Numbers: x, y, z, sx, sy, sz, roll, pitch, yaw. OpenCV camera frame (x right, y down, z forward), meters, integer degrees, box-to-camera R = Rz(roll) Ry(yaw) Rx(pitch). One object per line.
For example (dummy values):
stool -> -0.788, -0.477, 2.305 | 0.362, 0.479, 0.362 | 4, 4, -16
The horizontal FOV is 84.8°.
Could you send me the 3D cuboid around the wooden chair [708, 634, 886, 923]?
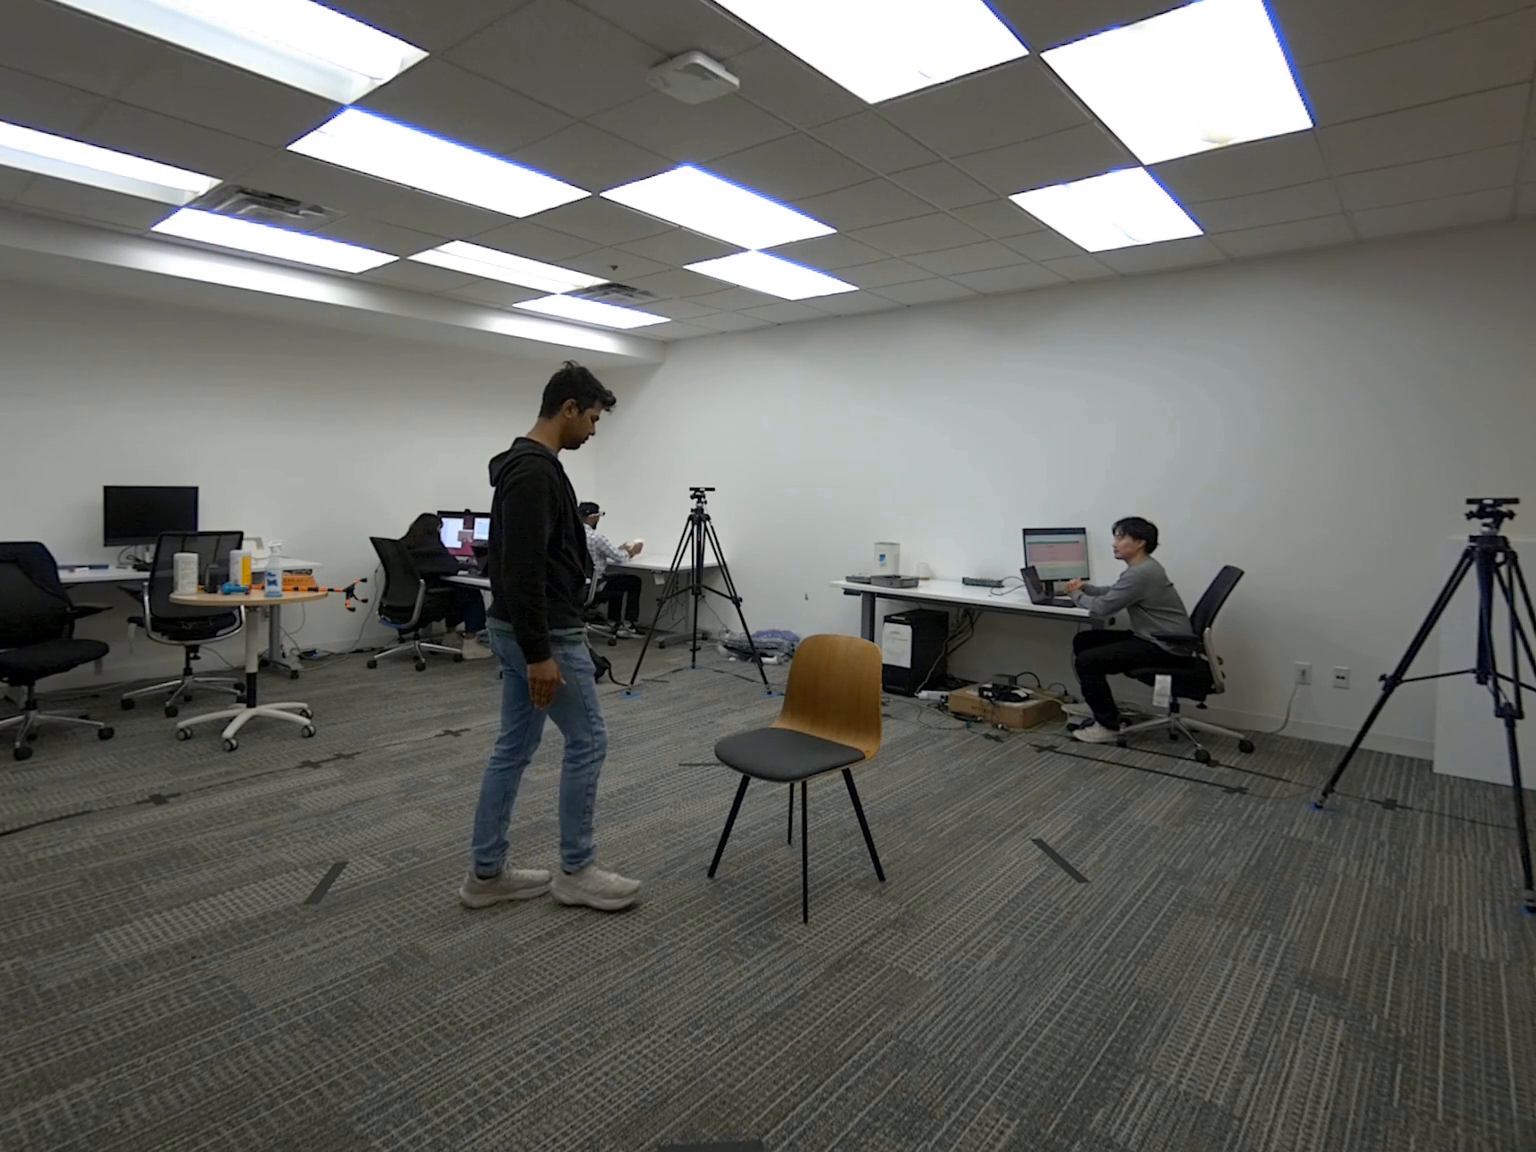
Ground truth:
wooden chair -> 0.099, 0.658, 3.008 | 0.495, 0.877, 0.506 | 5, 1, 43
